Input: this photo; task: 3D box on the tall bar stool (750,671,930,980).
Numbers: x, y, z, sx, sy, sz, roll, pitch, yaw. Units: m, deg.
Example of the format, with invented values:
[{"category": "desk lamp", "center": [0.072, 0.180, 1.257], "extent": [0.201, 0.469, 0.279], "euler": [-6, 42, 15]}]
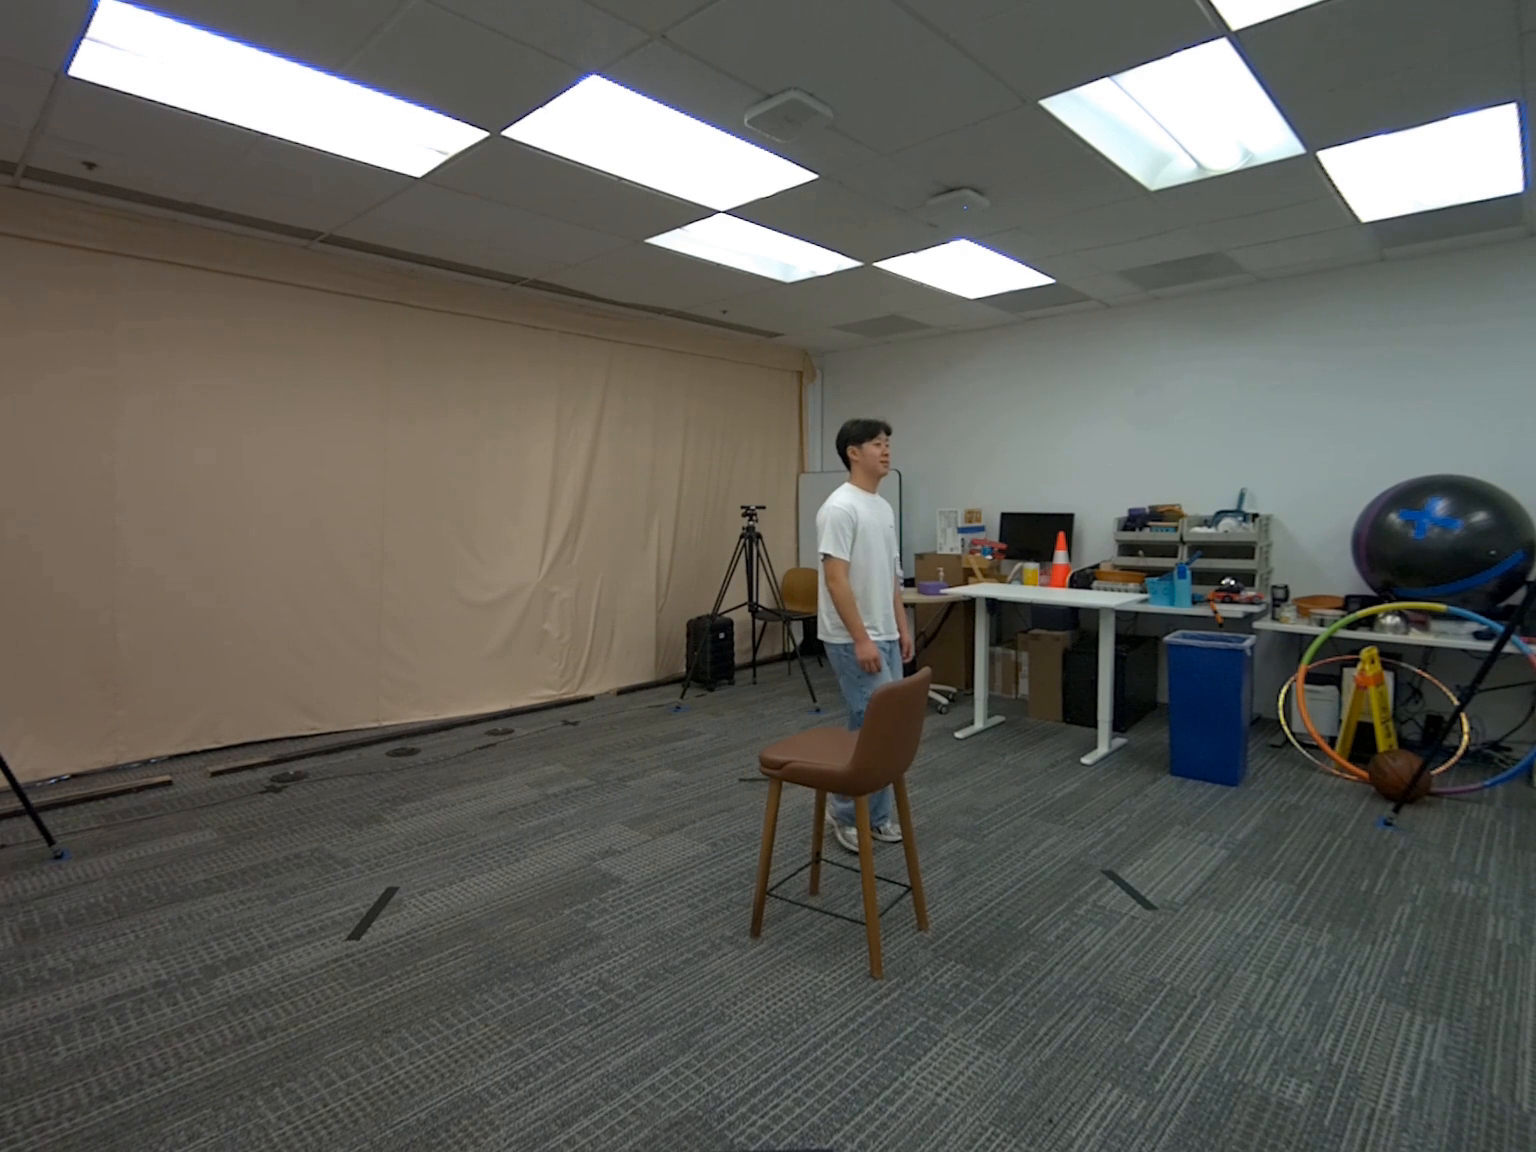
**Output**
[{"category": "tall bar stool", "center": [0.244, 0.731, 2.720], "extent": [0.483, 0.887, 0.443], "euler": [5, 6, 35]}]
